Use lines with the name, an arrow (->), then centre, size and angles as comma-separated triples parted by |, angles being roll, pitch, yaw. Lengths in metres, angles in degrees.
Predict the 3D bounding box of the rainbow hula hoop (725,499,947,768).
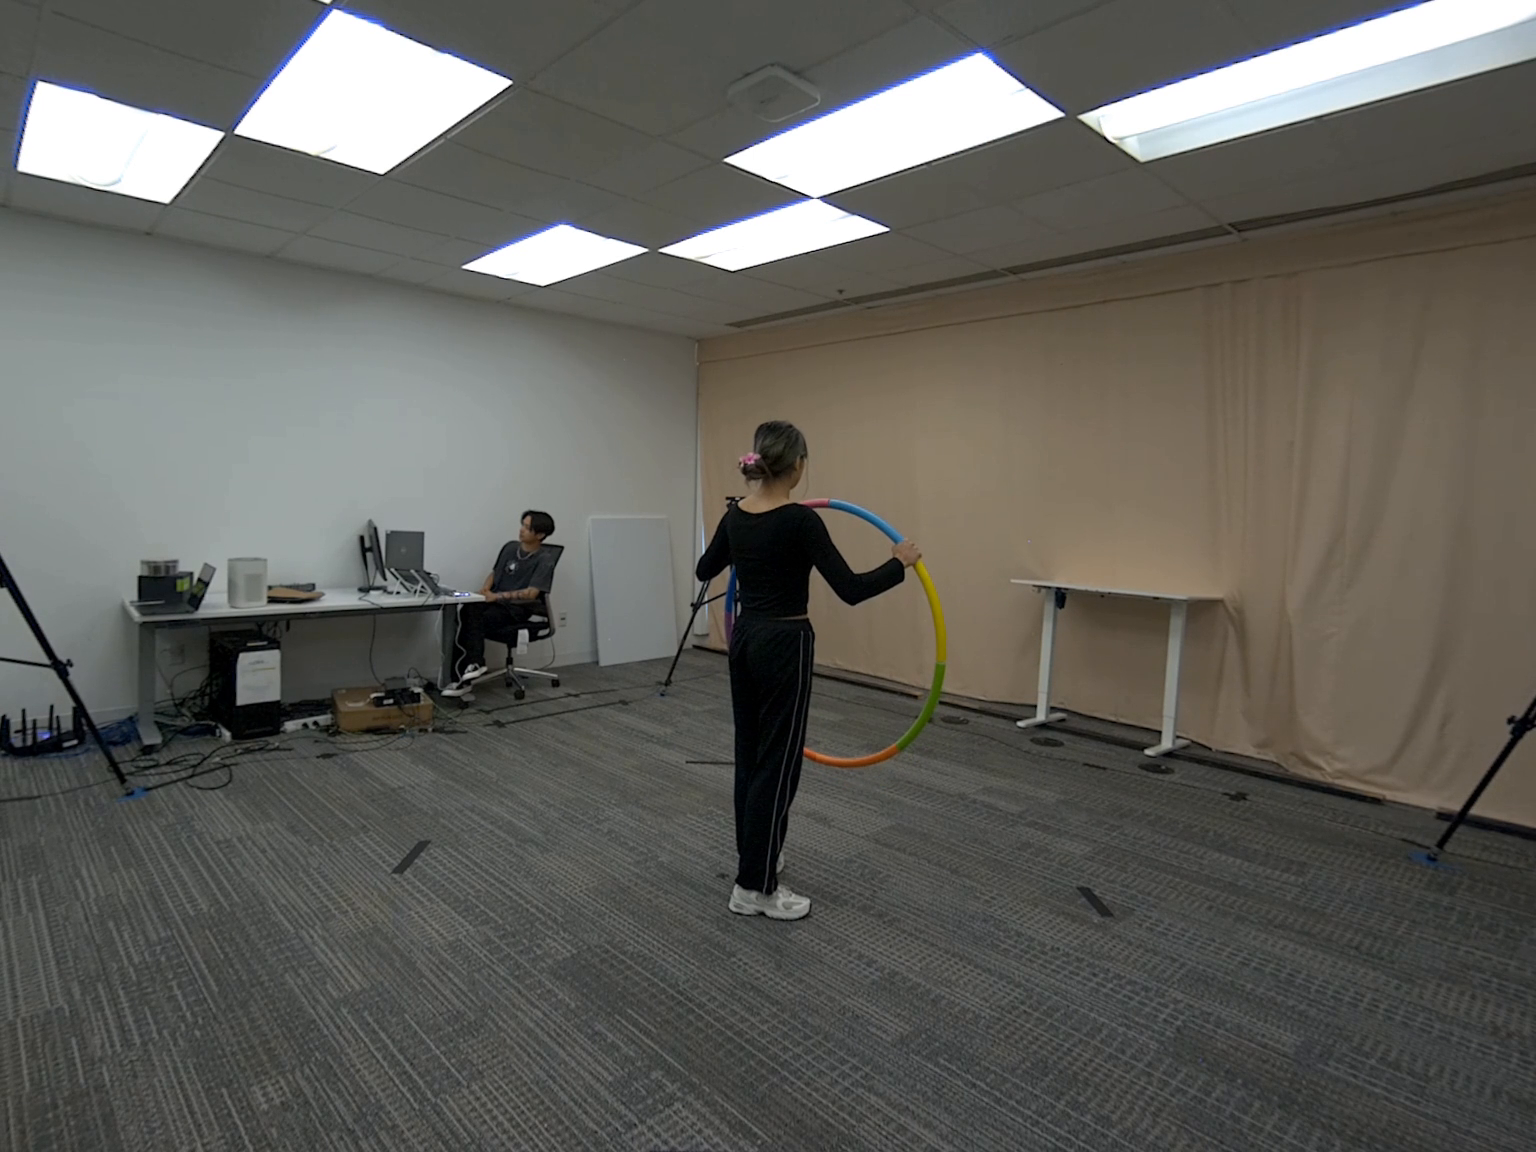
rainbow hula hoop -> 0.195, 0.212, 3.109 | 1.004, 0.973, 0.035 | 5, 9, 42
